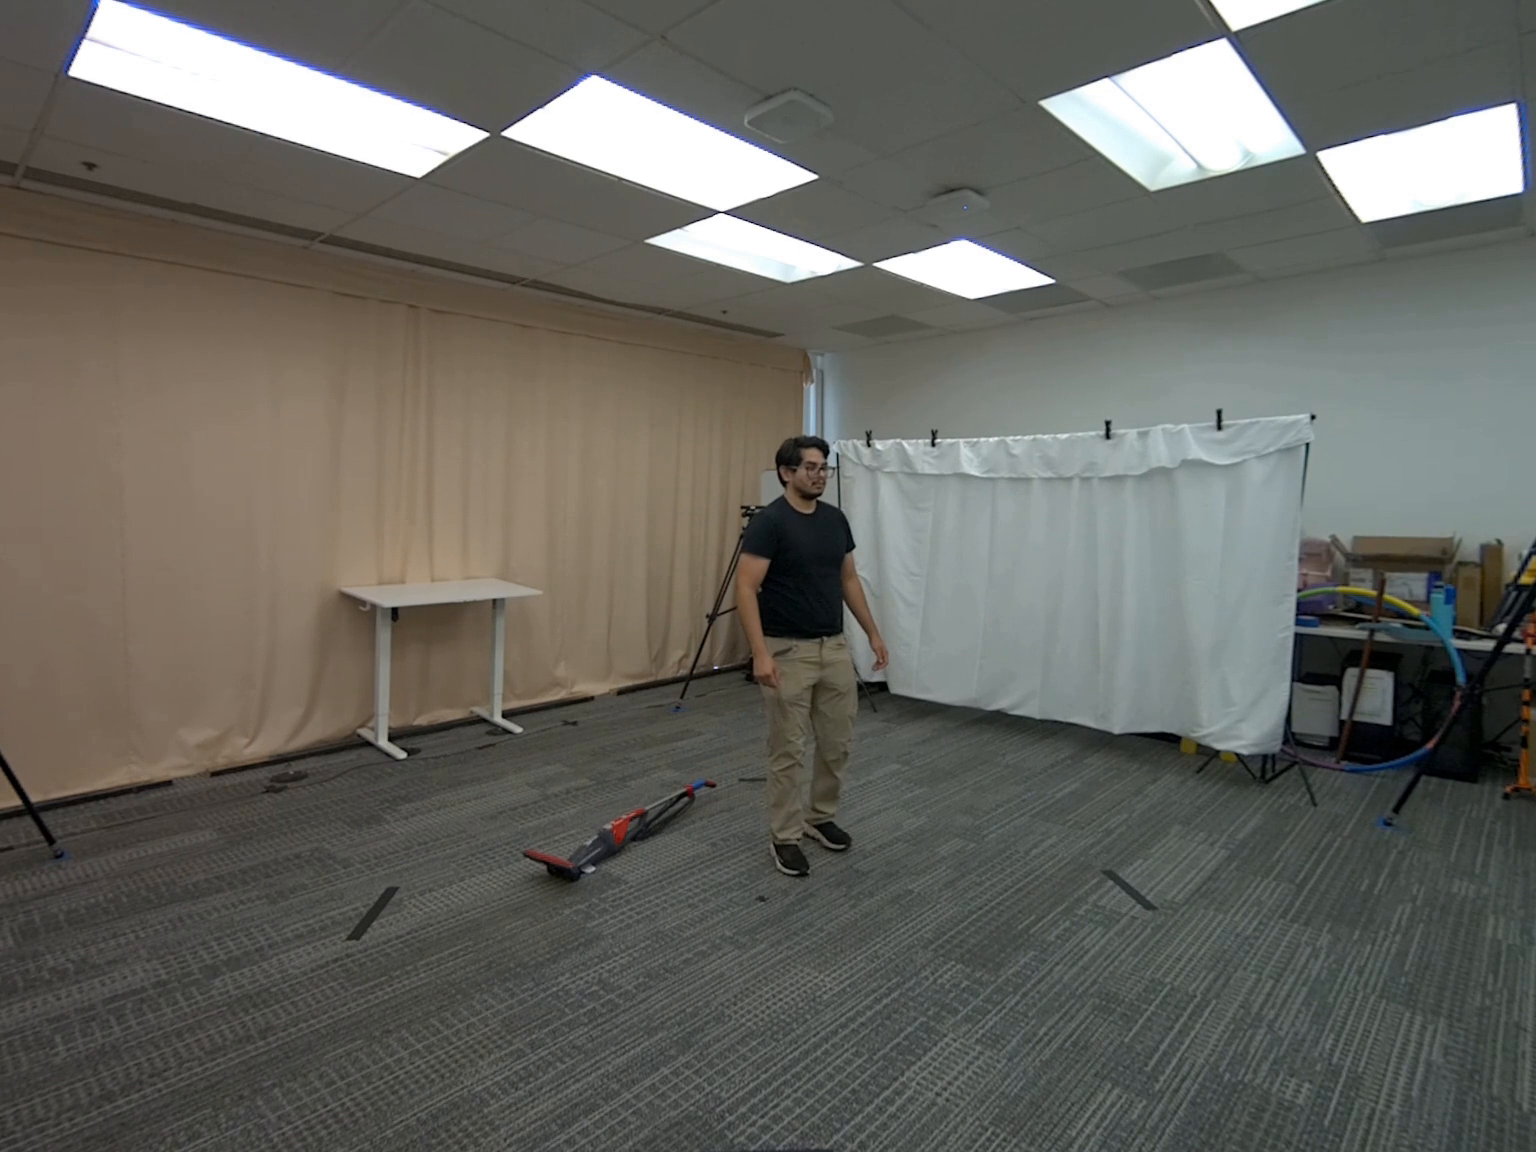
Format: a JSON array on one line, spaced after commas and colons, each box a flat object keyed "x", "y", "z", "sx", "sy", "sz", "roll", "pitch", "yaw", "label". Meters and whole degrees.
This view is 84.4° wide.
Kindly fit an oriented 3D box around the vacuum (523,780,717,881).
[{"x": -0.528, "y": 1.046, "z": 3.559, "sx": 0.260, "sy": 0.143, "sz": 1.021, "roll": 5, "pitch": 7, "yaw": 31, "label": "vacuum"}]
